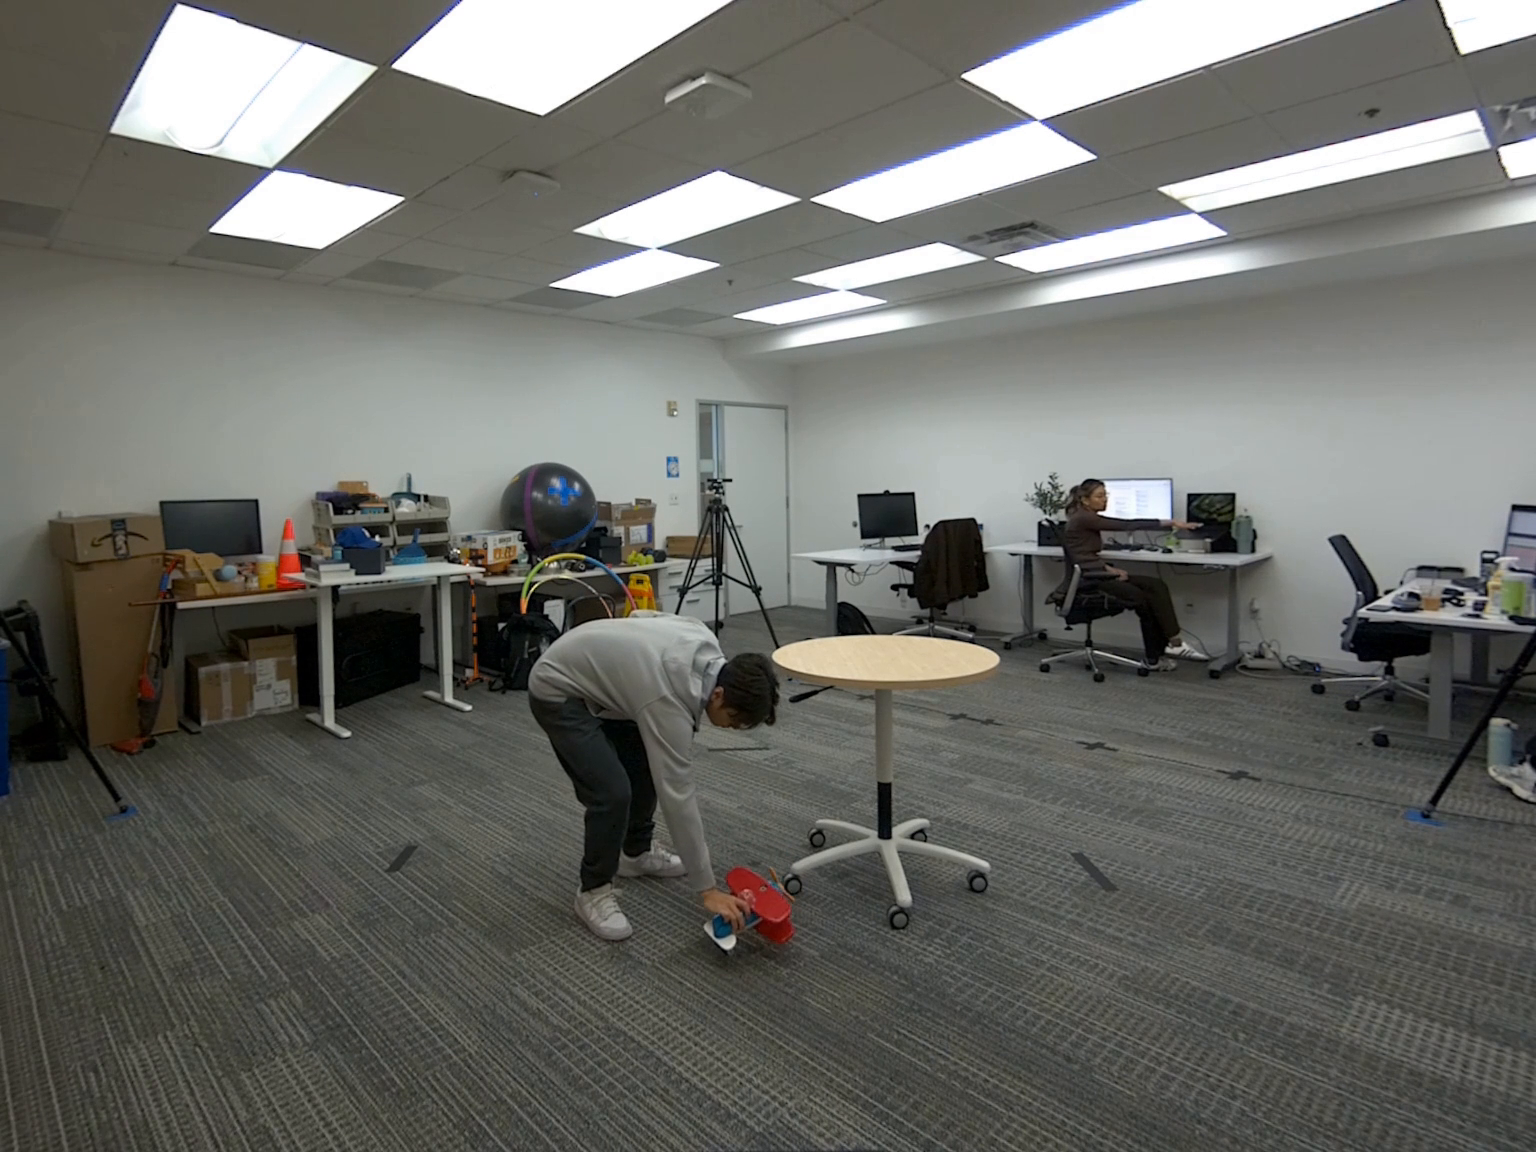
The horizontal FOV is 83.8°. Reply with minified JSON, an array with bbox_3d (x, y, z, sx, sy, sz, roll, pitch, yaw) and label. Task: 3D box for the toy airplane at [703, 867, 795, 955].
[{"bbox_3d":[-0.043,1.005,2.501,0.258,0.154,0.256,10,18,25],"label":"toy airplane"}]
